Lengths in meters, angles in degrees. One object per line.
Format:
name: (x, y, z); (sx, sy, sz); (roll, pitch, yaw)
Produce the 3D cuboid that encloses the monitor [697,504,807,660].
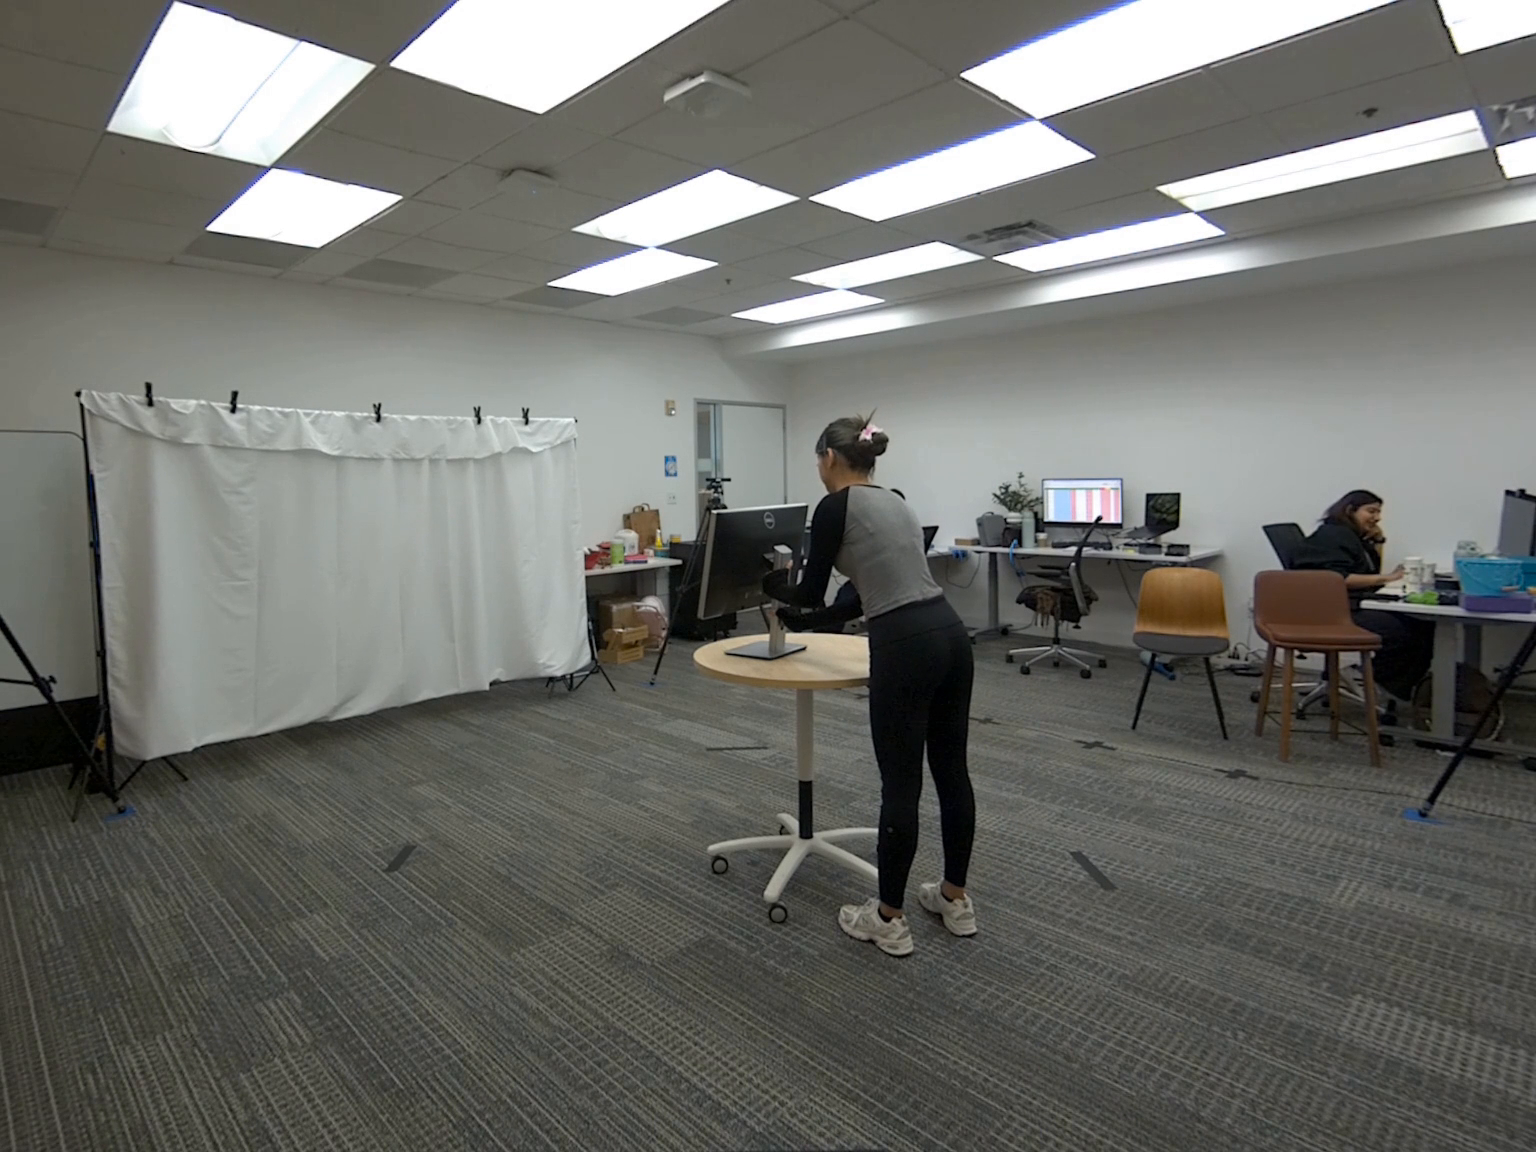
monitor: (-0.009, 0.018, 2.977); (0.179, 0.516, 0.518); (-8, 1, 36)
